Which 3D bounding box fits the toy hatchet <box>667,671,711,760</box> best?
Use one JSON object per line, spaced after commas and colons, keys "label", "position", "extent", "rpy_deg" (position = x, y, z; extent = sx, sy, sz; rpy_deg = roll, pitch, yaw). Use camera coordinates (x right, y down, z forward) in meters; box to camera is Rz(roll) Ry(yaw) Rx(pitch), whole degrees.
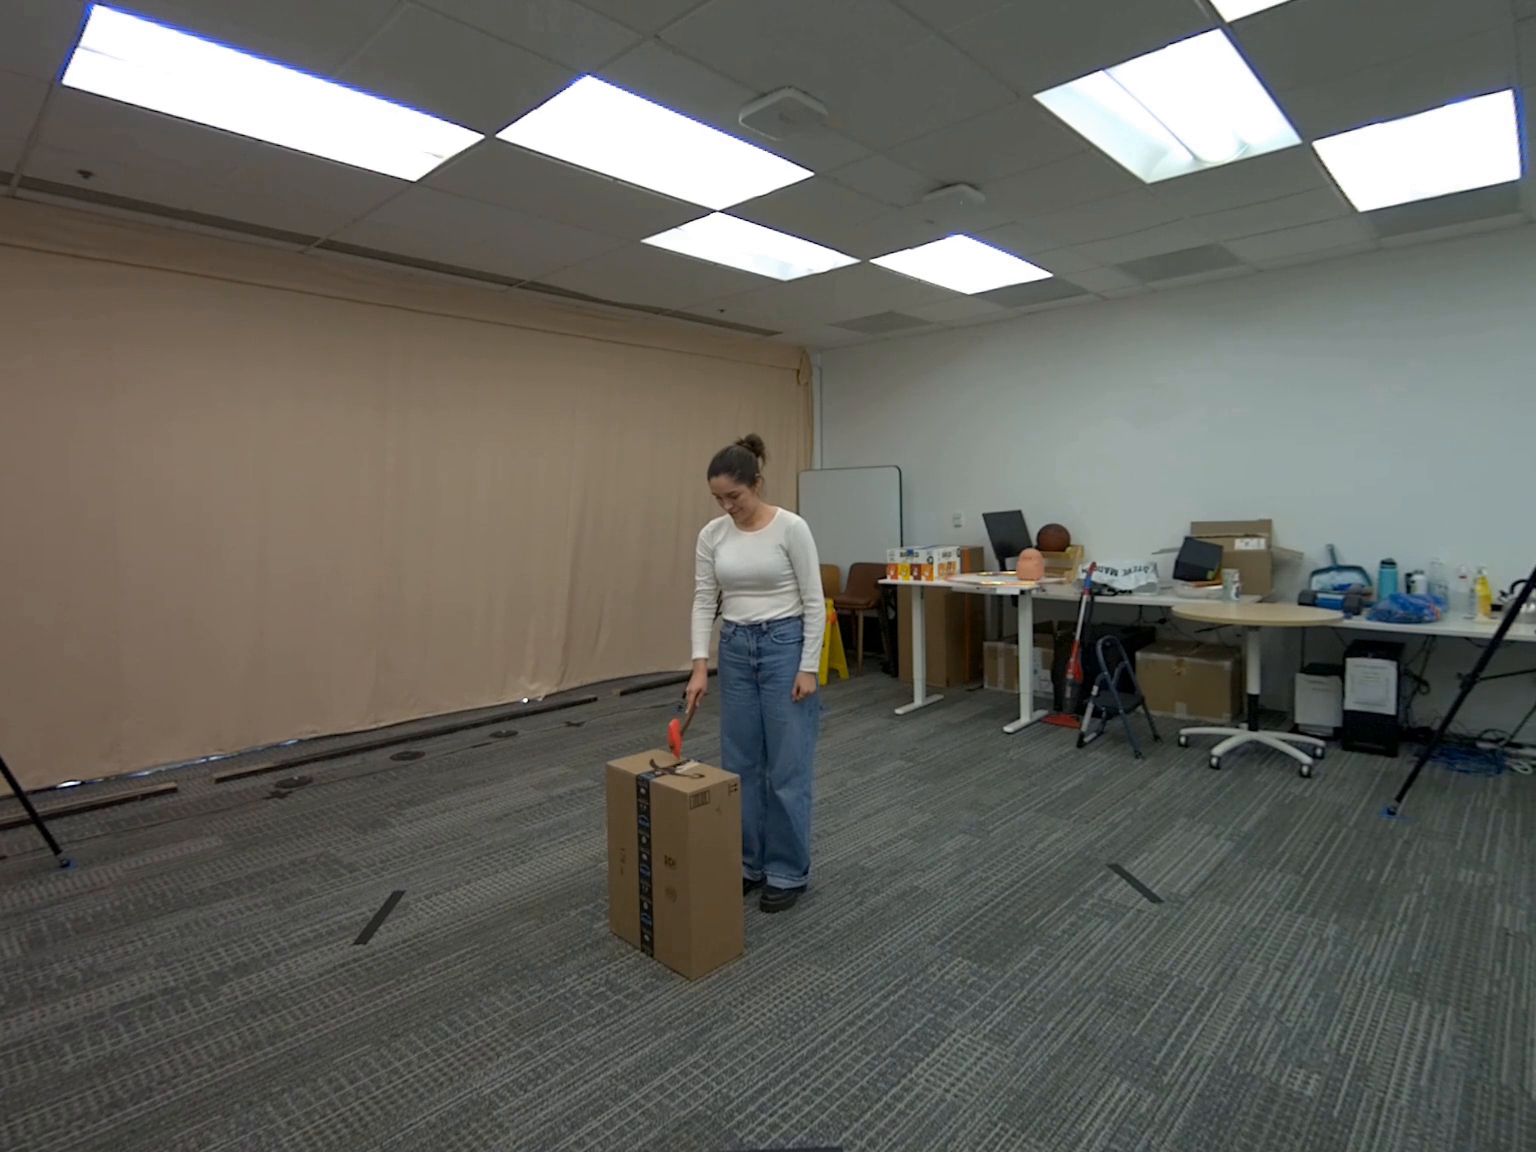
{"label": "toy hatchet", "position": [-0.286, 0.466, 2.786], "extent": [0.030, 0.127, 0.272], "rpy_deg": [-2, 43, 21]}
